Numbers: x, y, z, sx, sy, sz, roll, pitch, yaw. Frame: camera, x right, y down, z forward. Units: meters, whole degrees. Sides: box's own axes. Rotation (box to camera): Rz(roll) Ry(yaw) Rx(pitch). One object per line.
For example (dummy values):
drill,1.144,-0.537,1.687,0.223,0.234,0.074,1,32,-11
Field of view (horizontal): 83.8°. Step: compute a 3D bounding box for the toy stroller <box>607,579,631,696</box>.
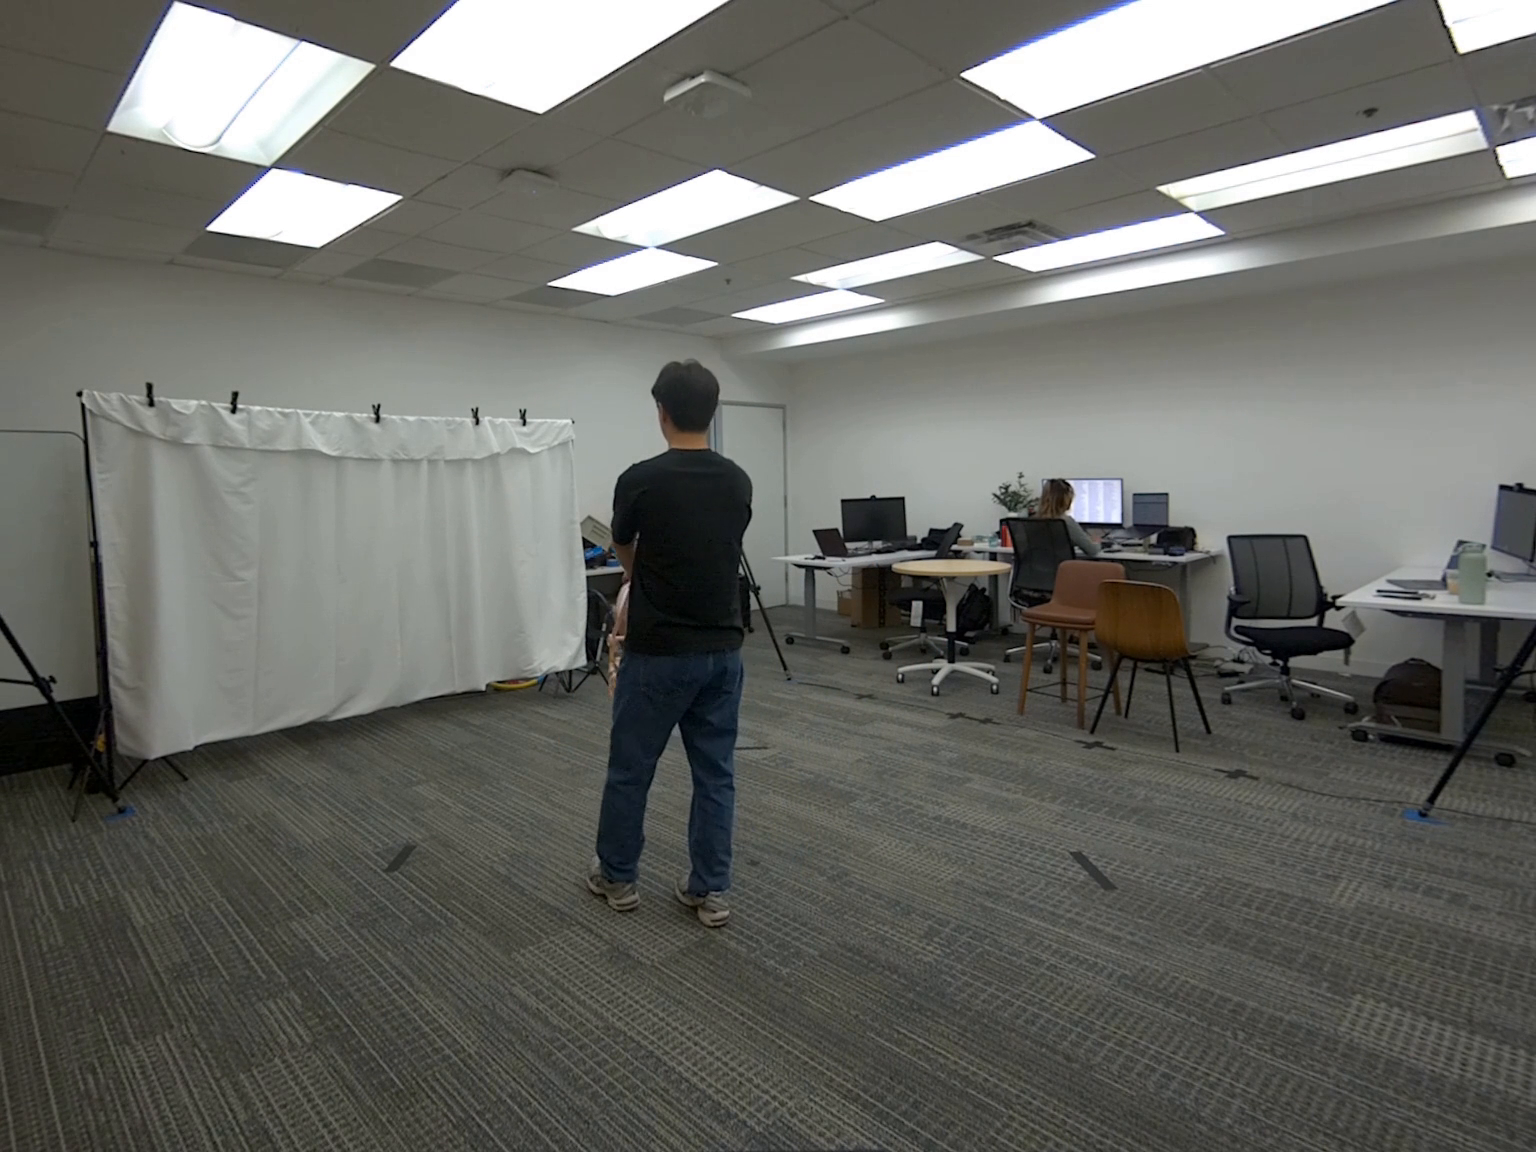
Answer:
toy stroller,-0.484,0.257,3.322,0.275,0.534,0.349,2,1,-23
